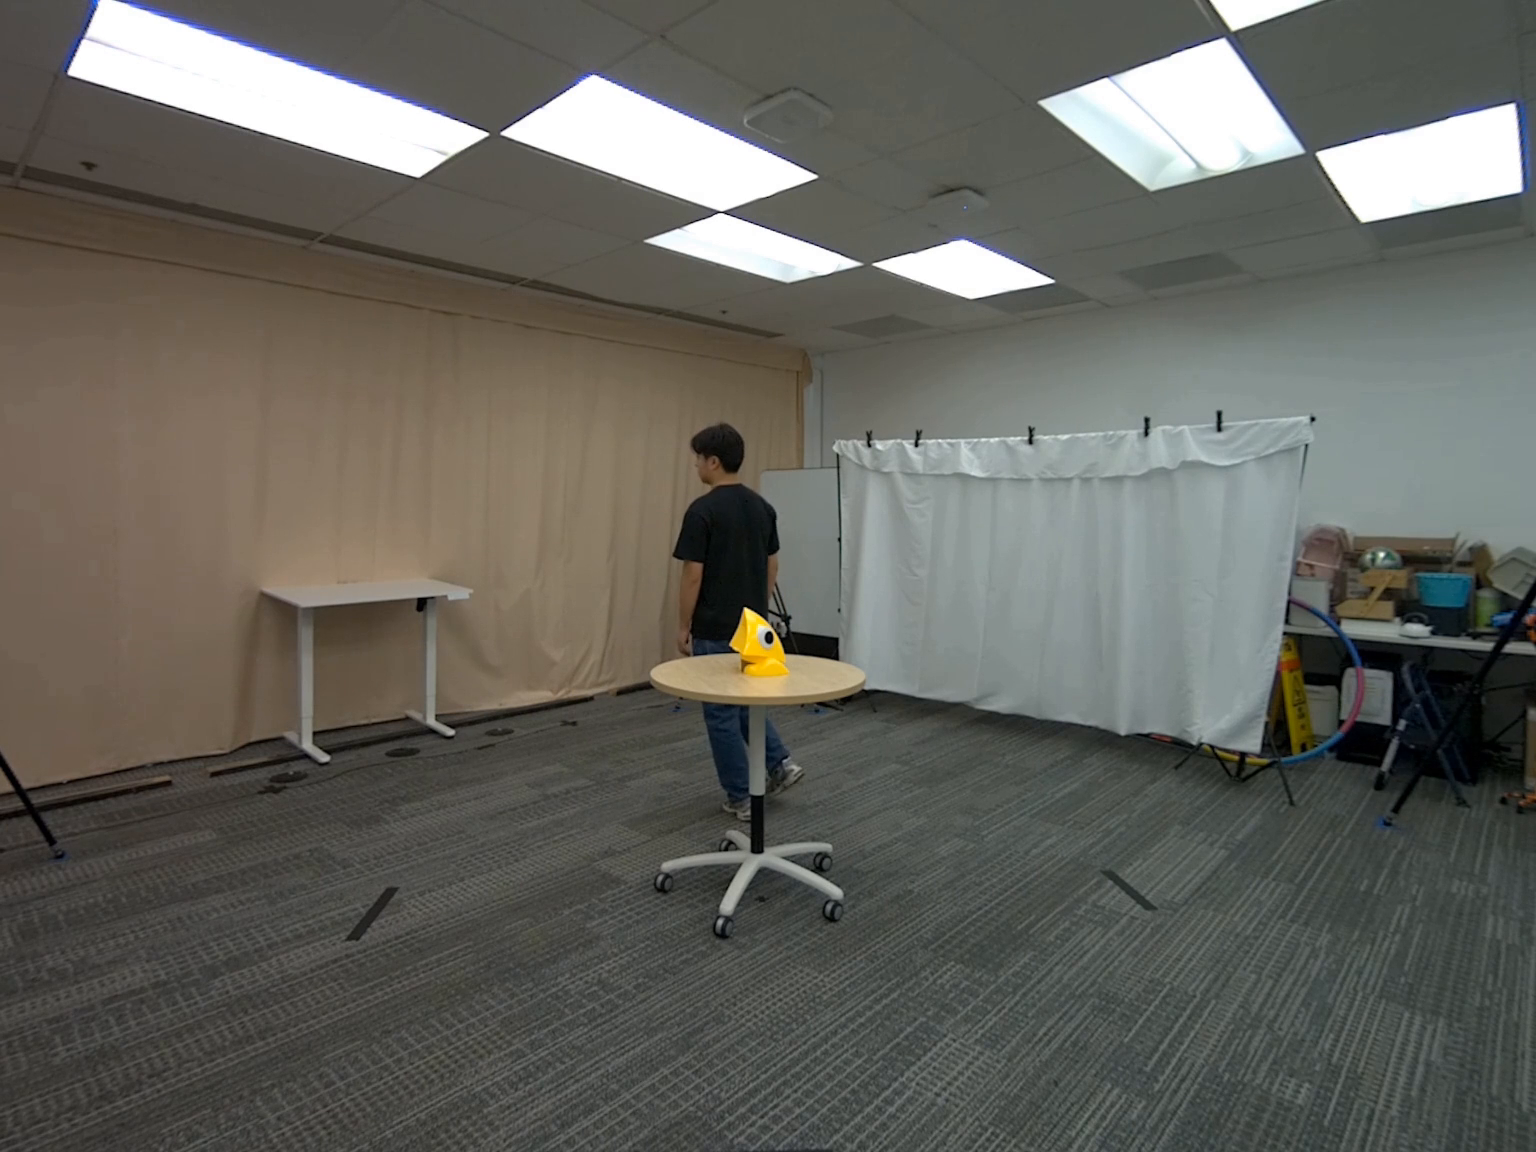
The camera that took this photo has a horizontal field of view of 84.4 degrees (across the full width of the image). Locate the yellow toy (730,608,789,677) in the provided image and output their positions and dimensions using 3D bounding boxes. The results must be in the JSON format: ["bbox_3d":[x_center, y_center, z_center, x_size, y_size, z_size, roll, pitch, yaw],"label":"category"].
[{"bbox_3d":[-0.023,0.226,3.041,0.190,0.230,0.208,-2,4,-16],"label":"yellow toy"}]
